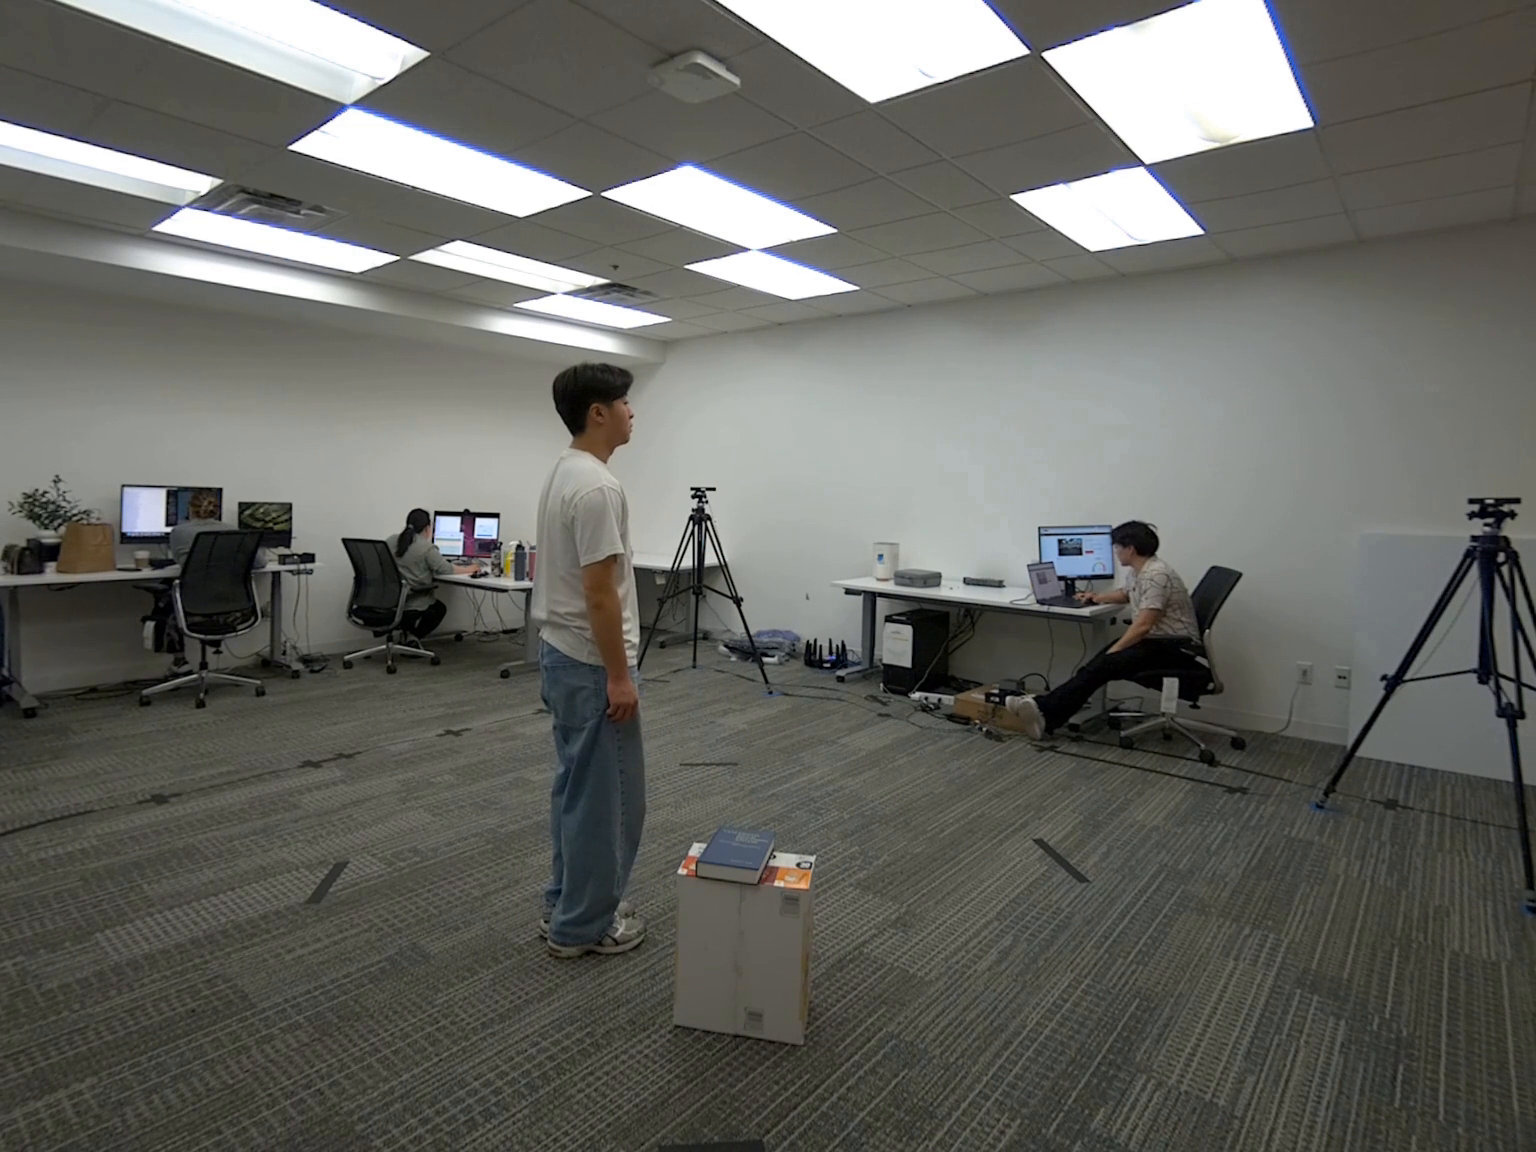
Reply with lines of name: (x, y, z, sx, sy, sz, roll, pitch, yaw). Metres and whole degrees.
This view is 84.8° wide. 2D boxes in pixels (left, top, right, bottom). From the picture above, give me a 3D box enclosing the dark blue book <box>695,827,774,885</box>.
dark blue book: (-0.087, 0.729, 2.245, 0.166, 0.045, 0.242, 3, 6, 12)
